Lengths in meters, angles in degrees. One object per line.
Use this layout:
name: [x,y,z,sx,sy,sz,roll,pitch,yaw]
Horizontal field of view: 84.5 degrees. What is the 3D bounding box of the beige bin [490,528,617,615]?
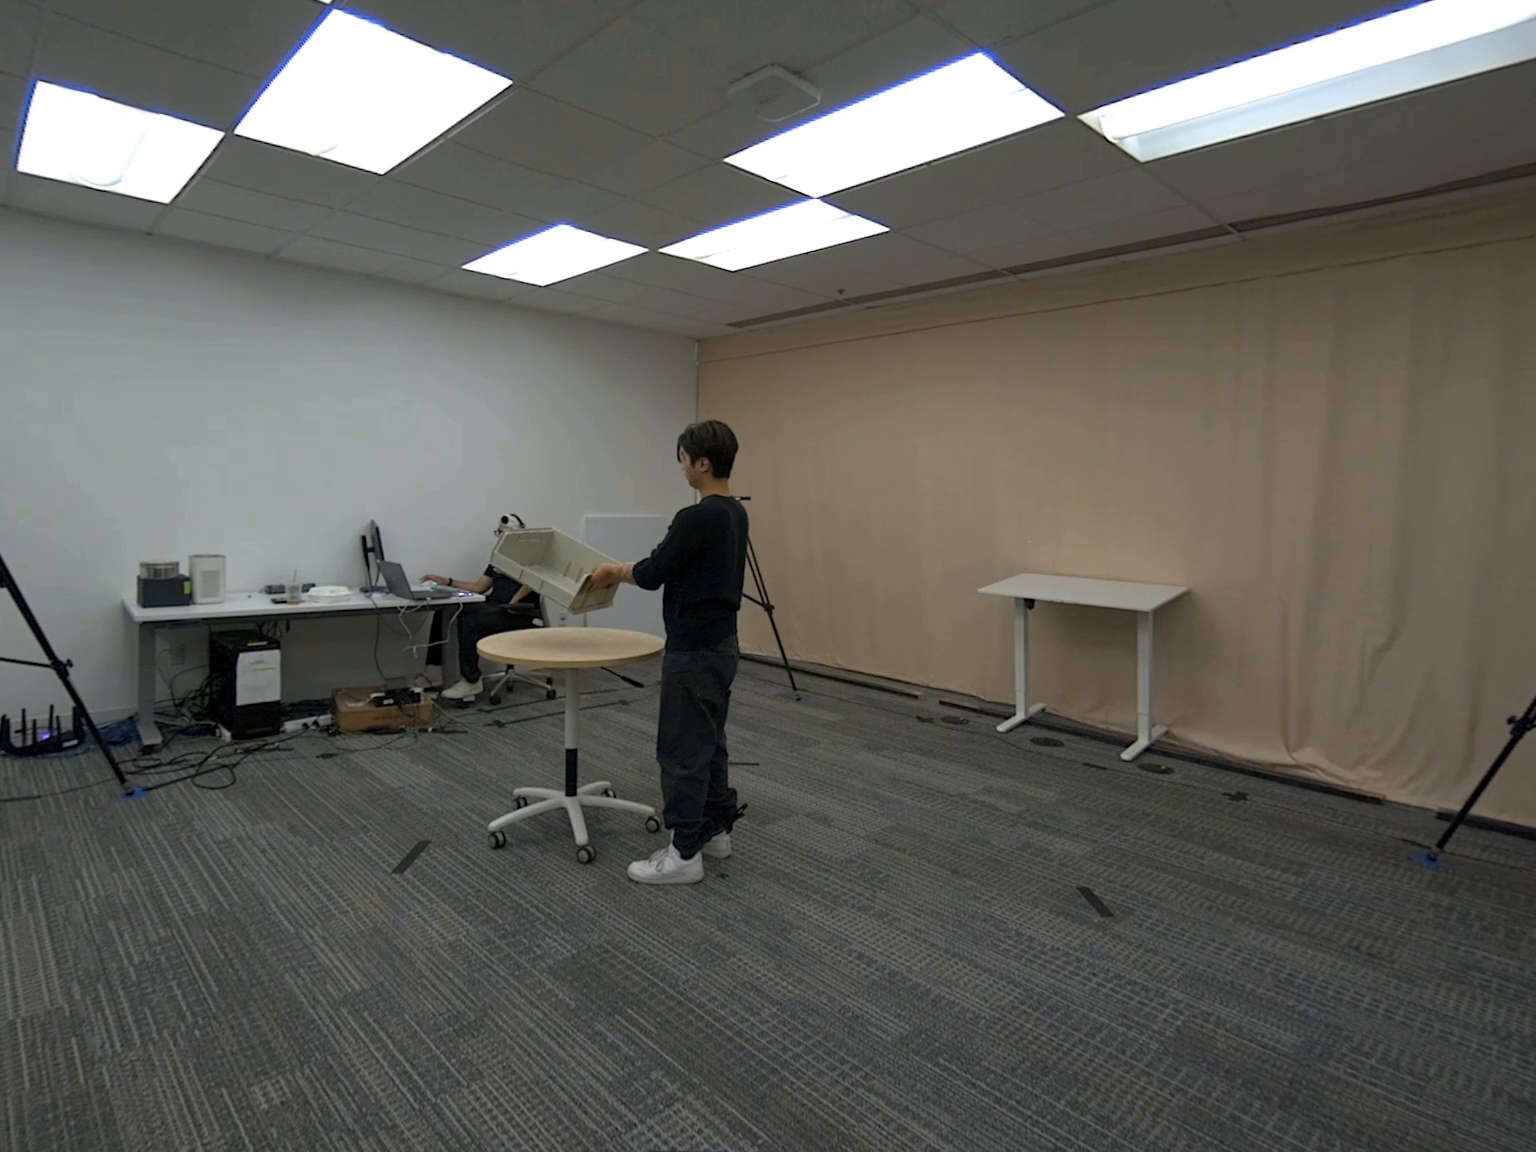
beige bin: [-0.857,-0.024,3.452,0.430,0.188,0.372,25,12,17]
